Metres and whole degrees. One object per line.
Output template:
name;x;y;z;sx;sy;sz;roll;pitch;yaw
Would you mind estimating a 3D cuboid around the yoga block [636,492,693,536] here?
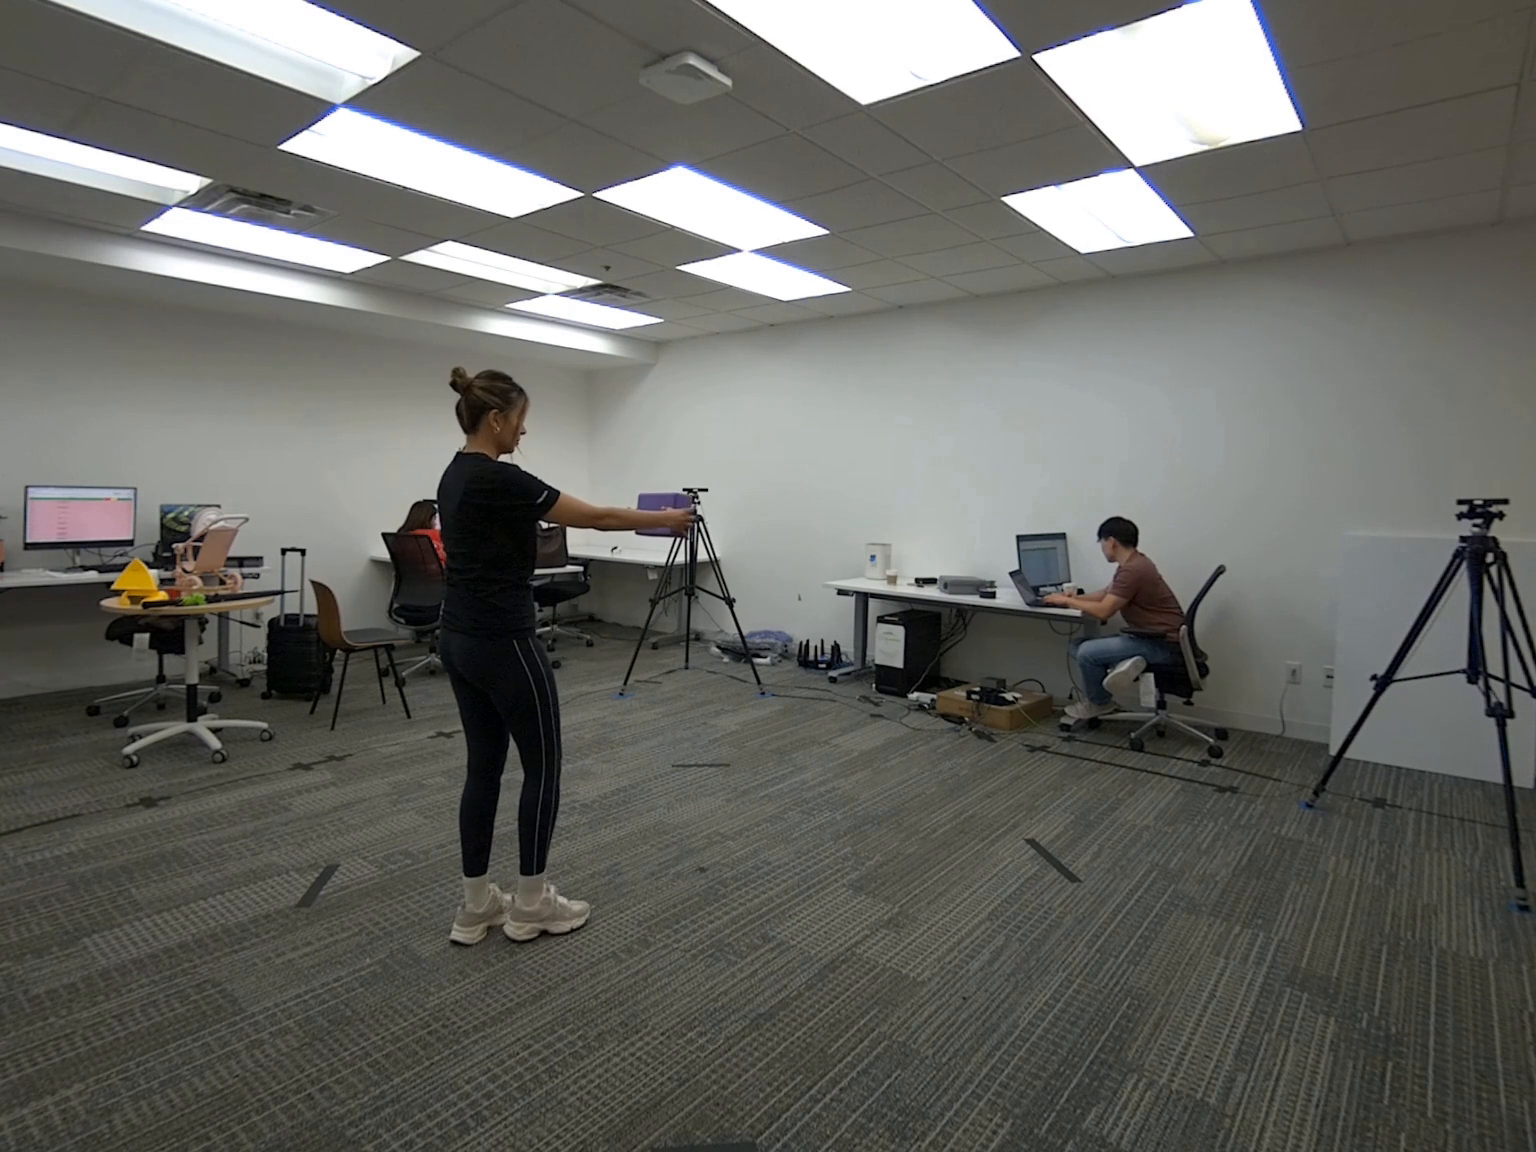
yoga block;-0.375;-0.213;2.915;0.074;0.149;0.237;4;-1;-42
